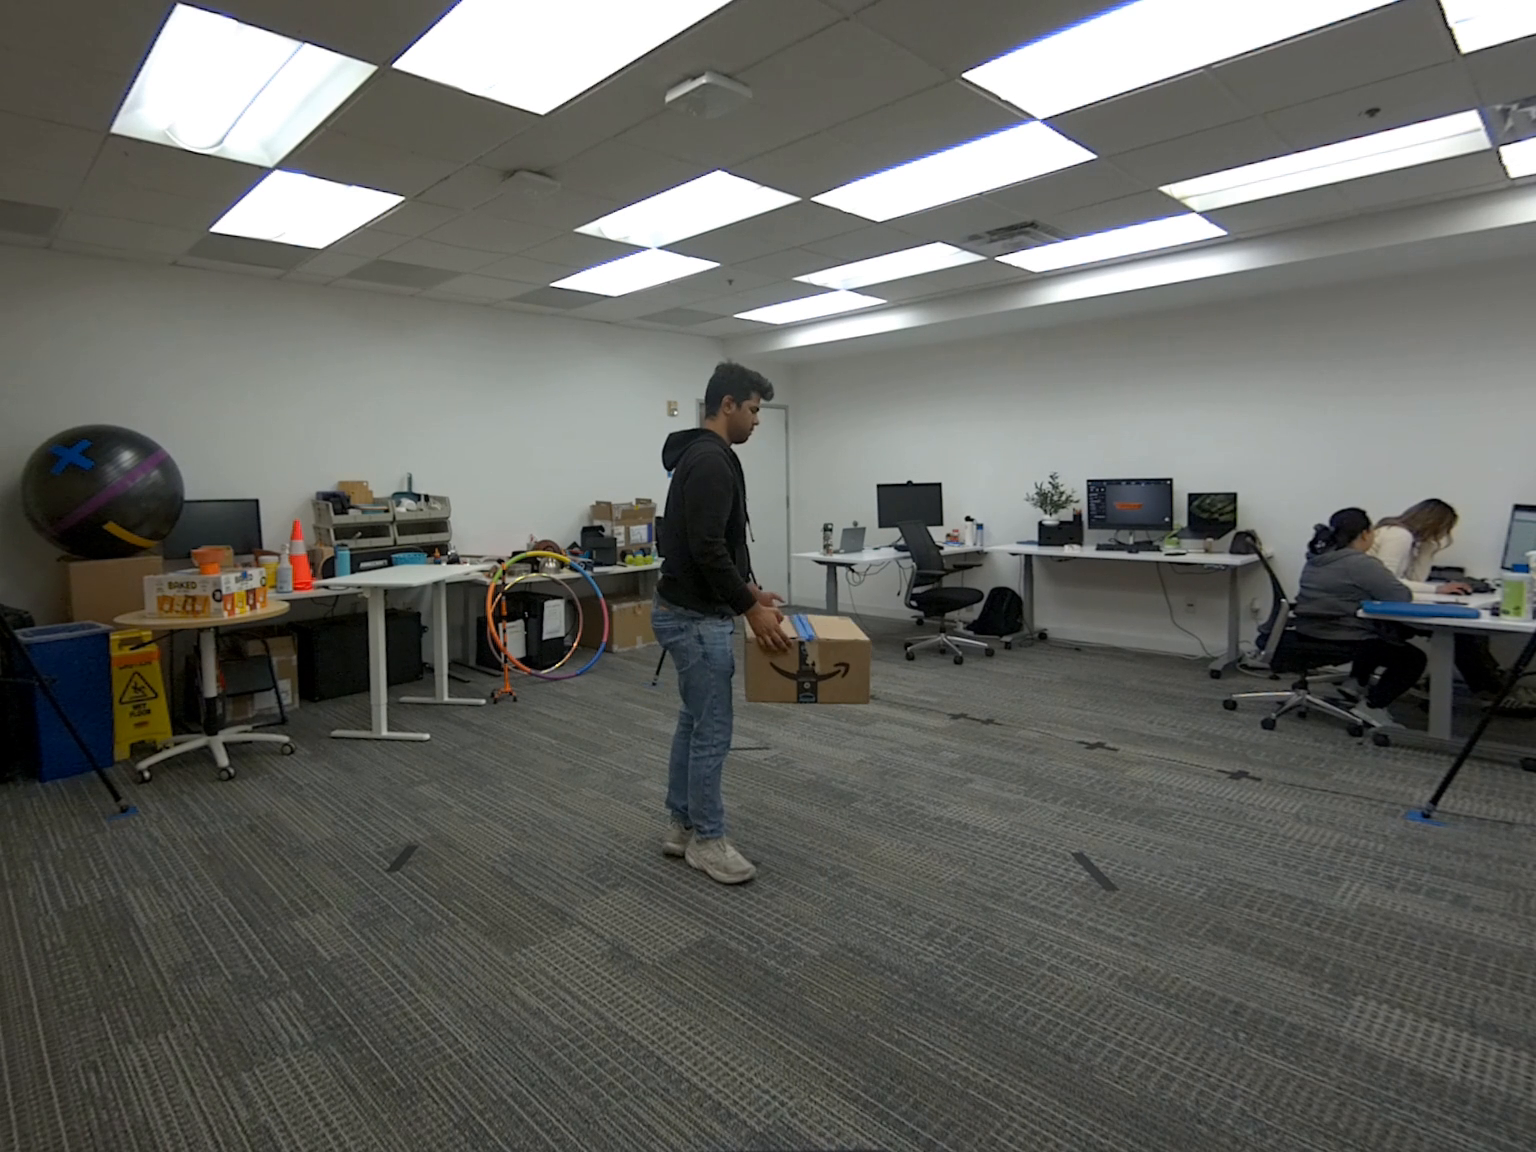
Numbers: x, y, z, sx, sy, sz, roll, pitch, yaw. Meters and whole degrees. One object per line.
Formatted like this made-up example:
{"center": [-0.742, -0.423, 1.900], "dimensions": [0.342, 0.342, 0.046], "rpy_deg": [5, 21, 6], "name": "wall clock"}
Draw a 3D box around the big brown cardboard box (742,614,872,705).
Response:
{"center": [0.117, 0.292, 3.130], "dimensions": [0.418, 0.232, 0.591], "rpy_deg": [0, 5, 0], "name": "big brown cardboard box"}
